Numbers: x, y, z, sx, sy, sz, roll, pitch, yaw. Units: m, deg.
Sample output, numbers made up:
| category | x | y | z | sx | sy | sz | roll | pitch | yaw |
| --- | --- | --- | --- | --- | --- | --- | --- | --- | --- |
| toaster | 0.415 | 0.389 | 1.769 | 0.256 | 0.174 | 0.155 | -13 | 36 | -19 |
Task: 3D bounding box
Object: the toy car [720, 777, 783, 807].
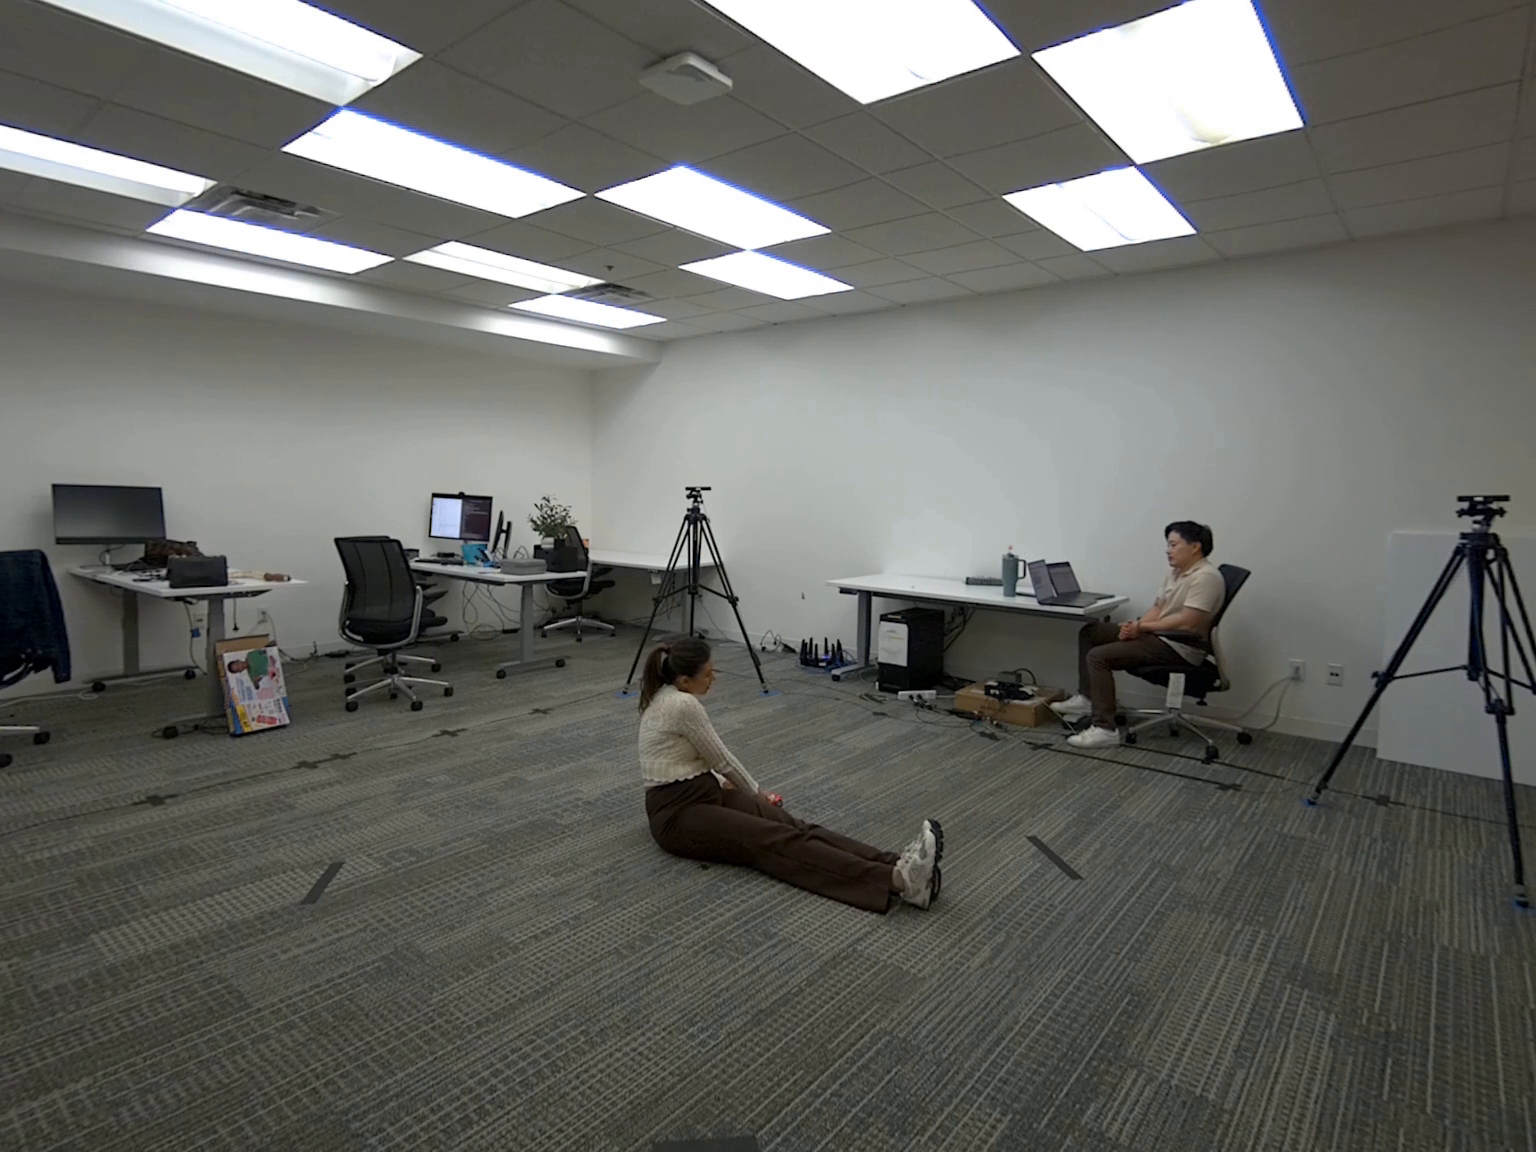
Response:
| category | x | y | z | sx | sy | sz | roll | pitch | yaw |
| --- | --- | --- | --- | --- | --- | --- | --- | --- | --- |
| toy car | -0.064 | 0.975 | 3.680 | 0.247 | 0.083 | 0.134 | 9 | 0 | -30 |
